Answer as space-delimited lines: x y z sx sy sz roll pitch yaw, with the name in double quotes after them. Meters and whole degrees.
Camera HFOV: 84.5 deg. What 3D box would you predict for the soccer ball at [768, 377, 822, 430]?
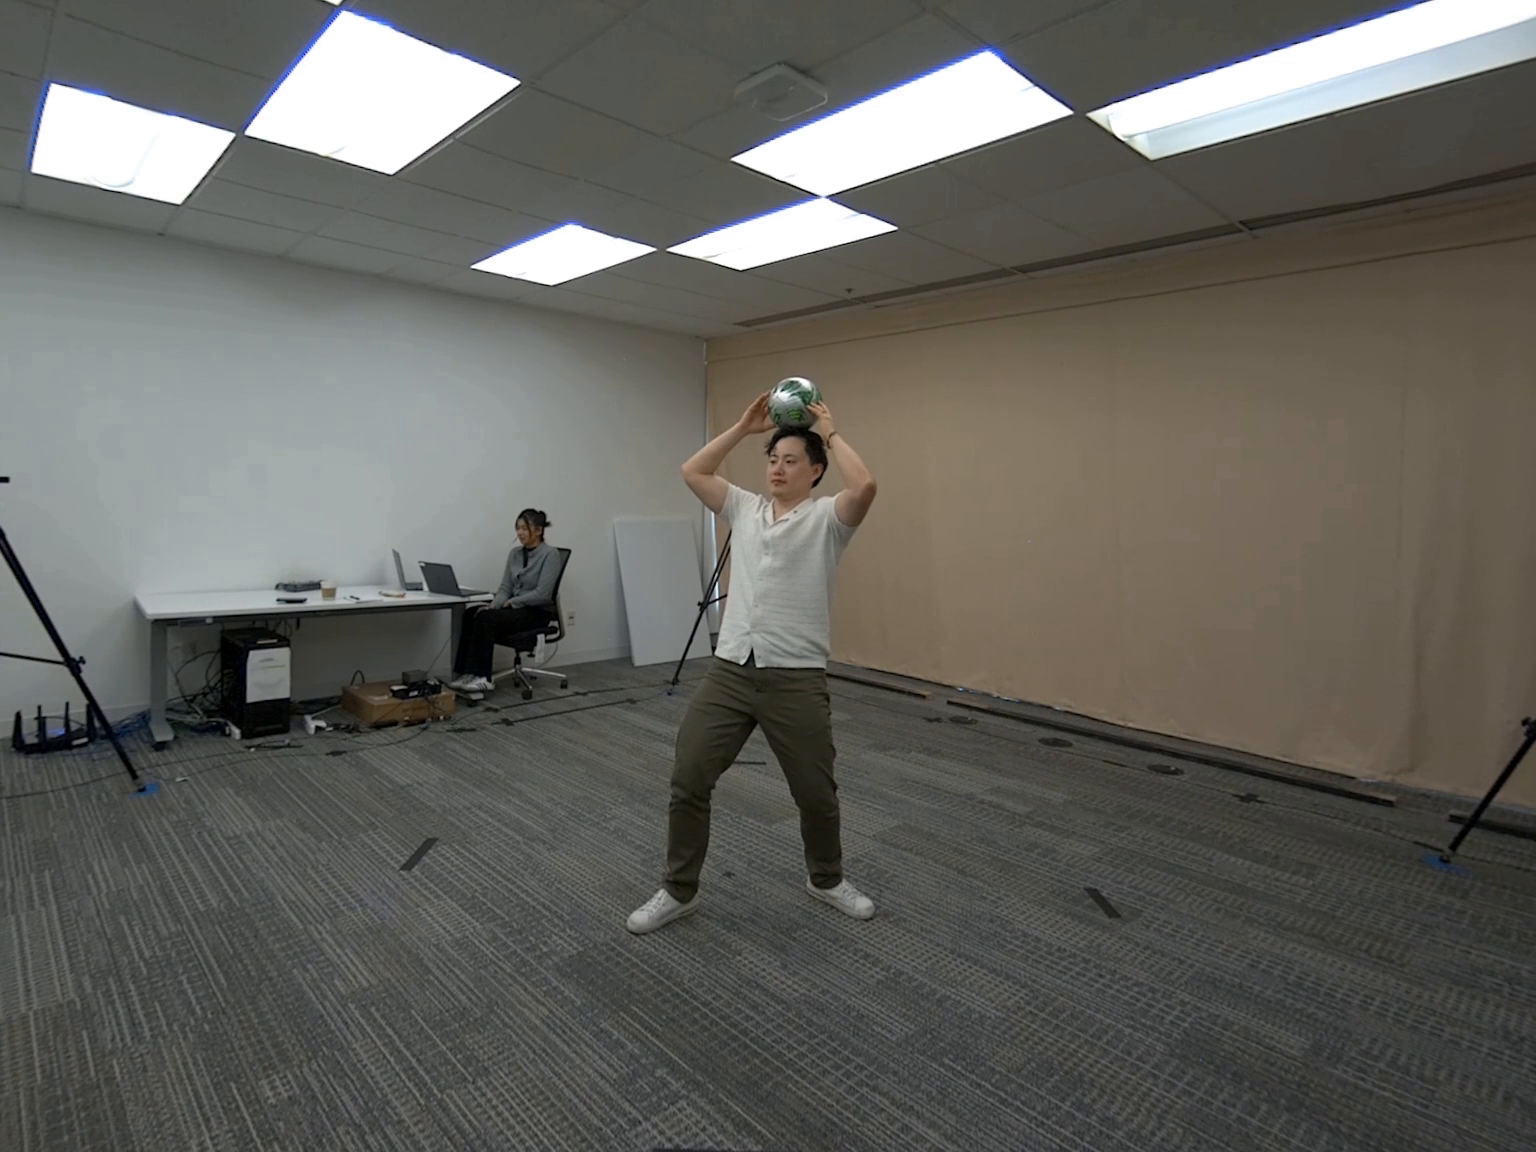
0.086 -0.581 2.862 0.187 0.187 0.188 1 4 -1 "soccer ball"
